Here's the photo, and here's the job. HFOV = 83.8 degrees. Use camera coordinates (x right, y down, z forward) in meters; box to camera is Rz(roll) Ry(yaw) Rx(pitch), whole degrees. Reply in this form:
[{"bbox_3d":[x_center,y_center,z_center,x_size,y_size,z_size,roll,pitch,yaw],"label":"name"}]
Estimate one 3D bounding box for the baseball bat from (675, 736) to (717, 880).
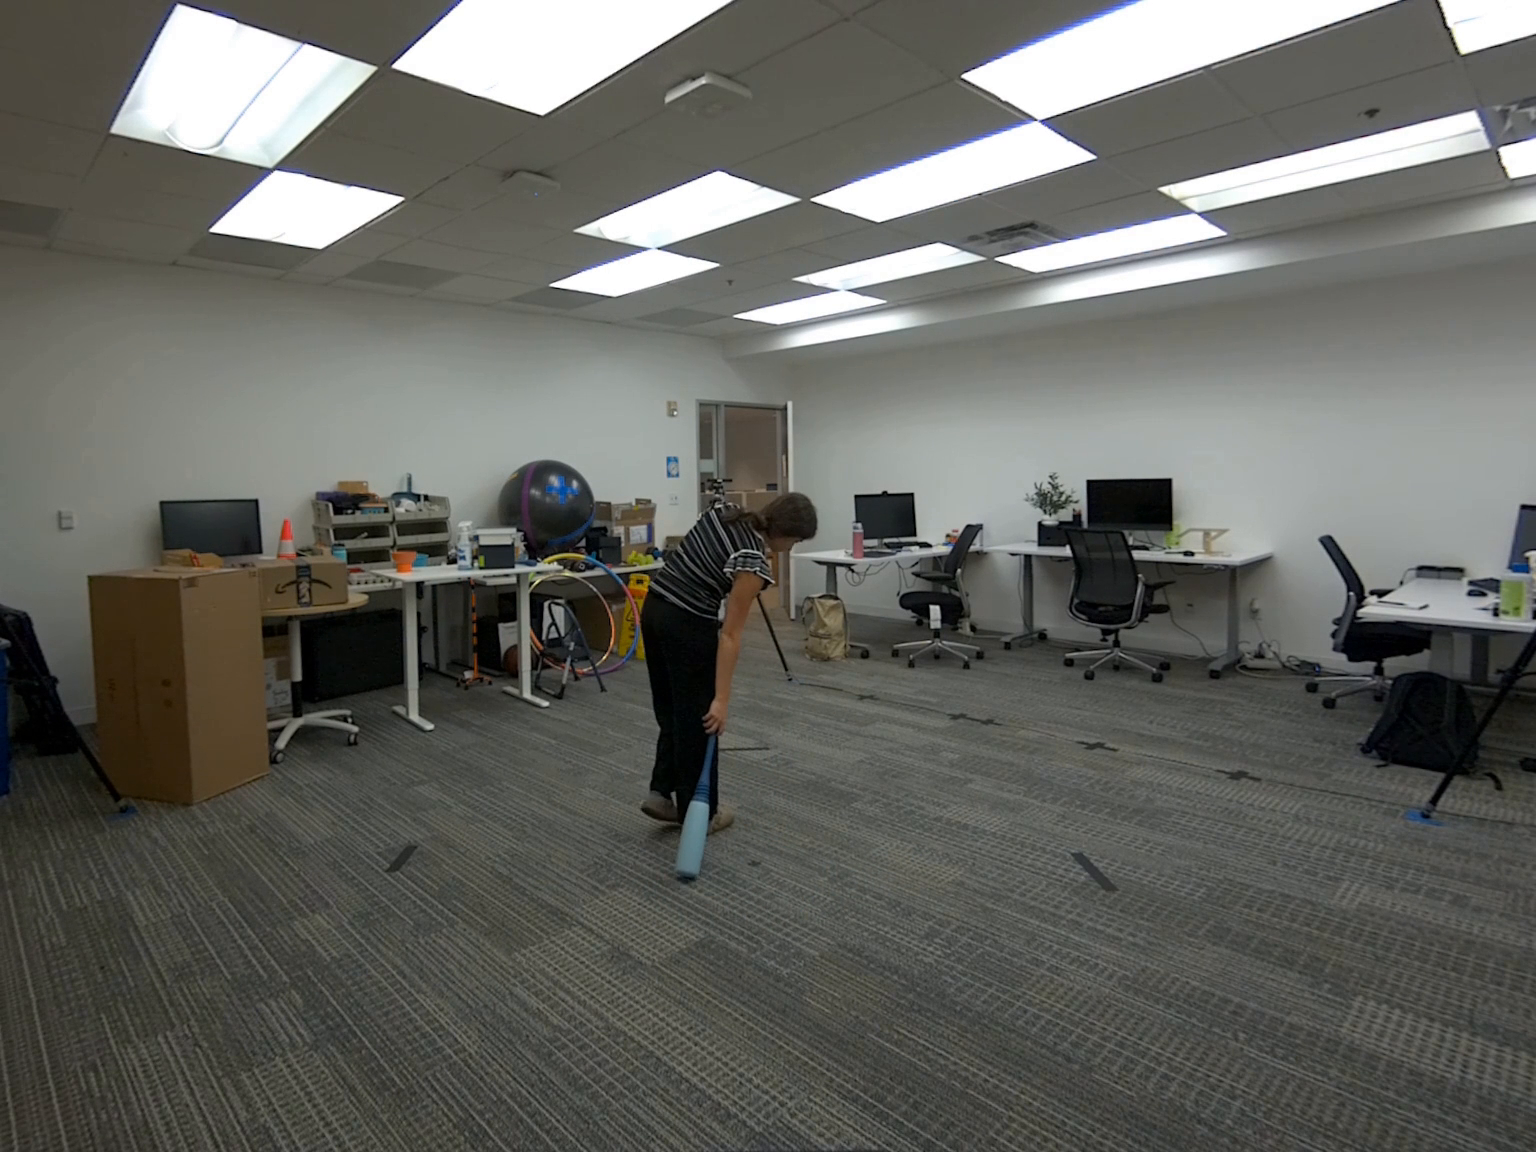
[{"bbox_3d":[-0.249,0.812,3.109,0.089,0.553,0.087,8,-28,2],"label":"baseball bat"}]
